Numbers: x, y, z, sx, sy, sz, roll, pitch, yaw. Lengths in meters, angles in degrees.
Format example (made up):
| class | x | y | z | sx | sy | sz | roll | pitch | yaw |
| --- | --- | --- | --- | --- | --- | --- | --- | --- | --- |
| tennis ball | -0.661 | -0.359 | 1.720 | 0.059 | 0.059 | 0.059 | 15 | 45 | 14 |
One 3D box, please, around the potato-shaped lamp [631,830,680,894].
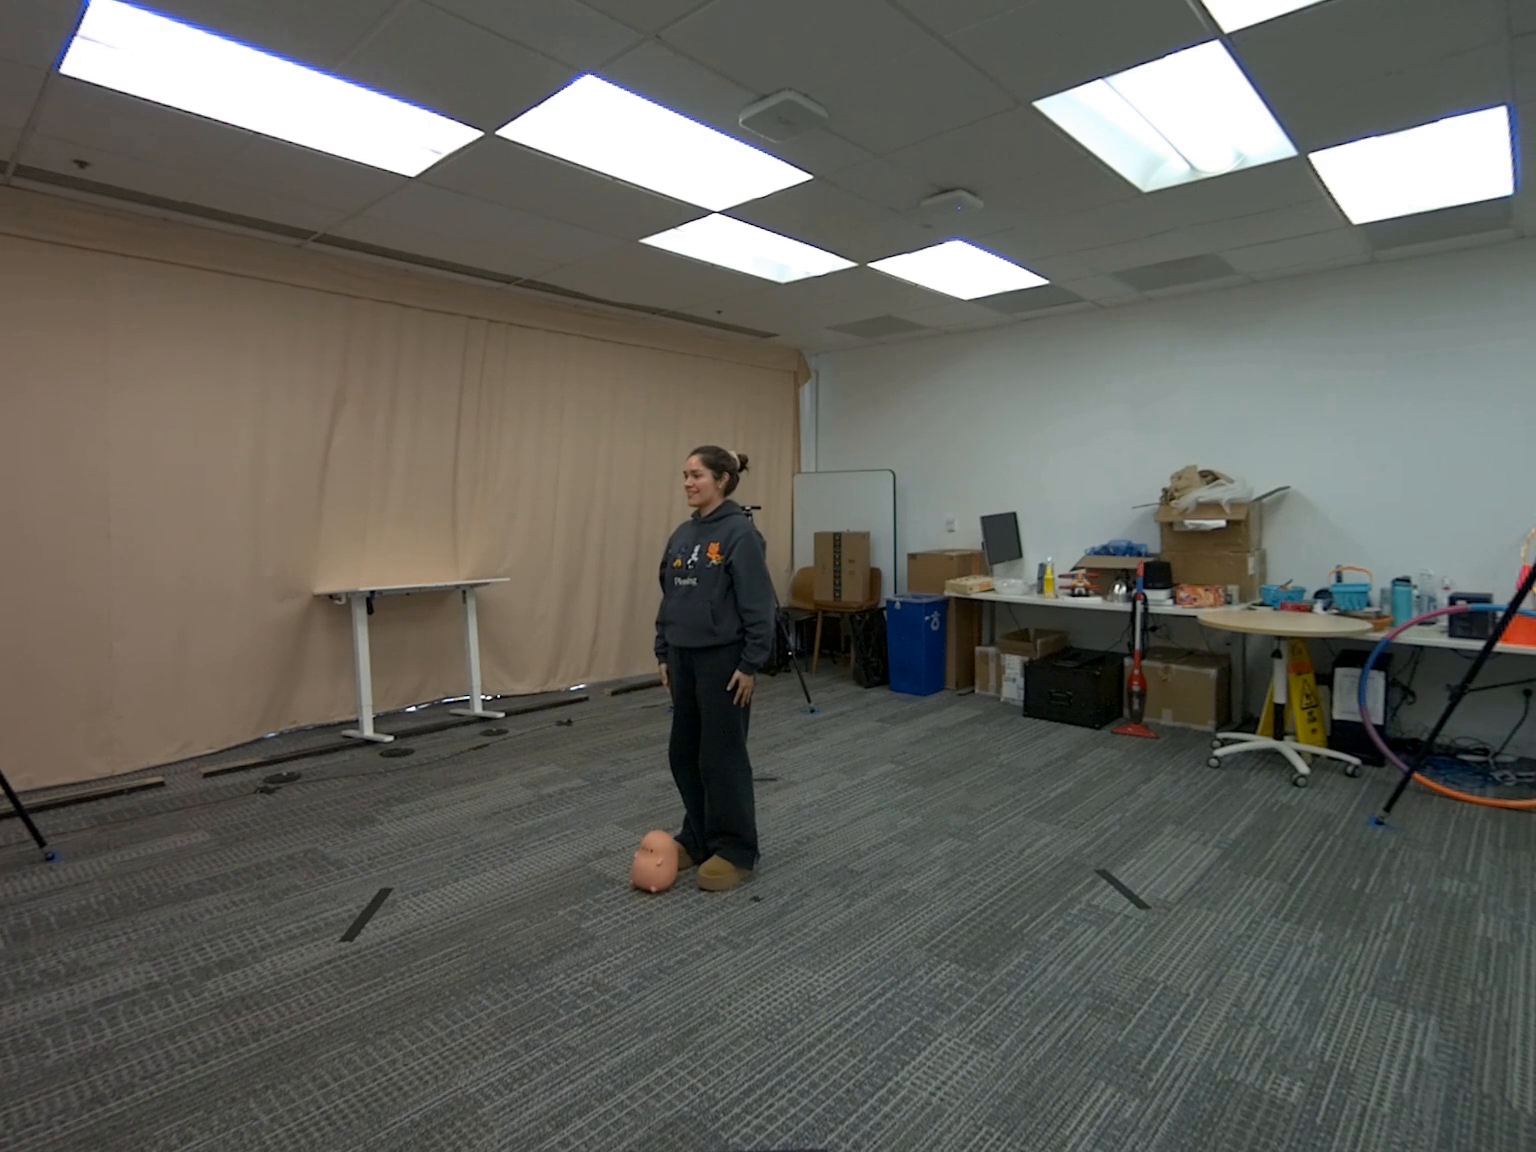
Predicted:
| class | x | y | z | sx | sy | sz | roll | pitch | yaw |
| --- | --- | --- | --- | --- | --- | --- | --- | --- | --- |
| potato-shaped lamp | -0.398 | 1.033 | 3.085 | 0.170 | 0.198 | 0.166 | 2 | -3 | 35 |
